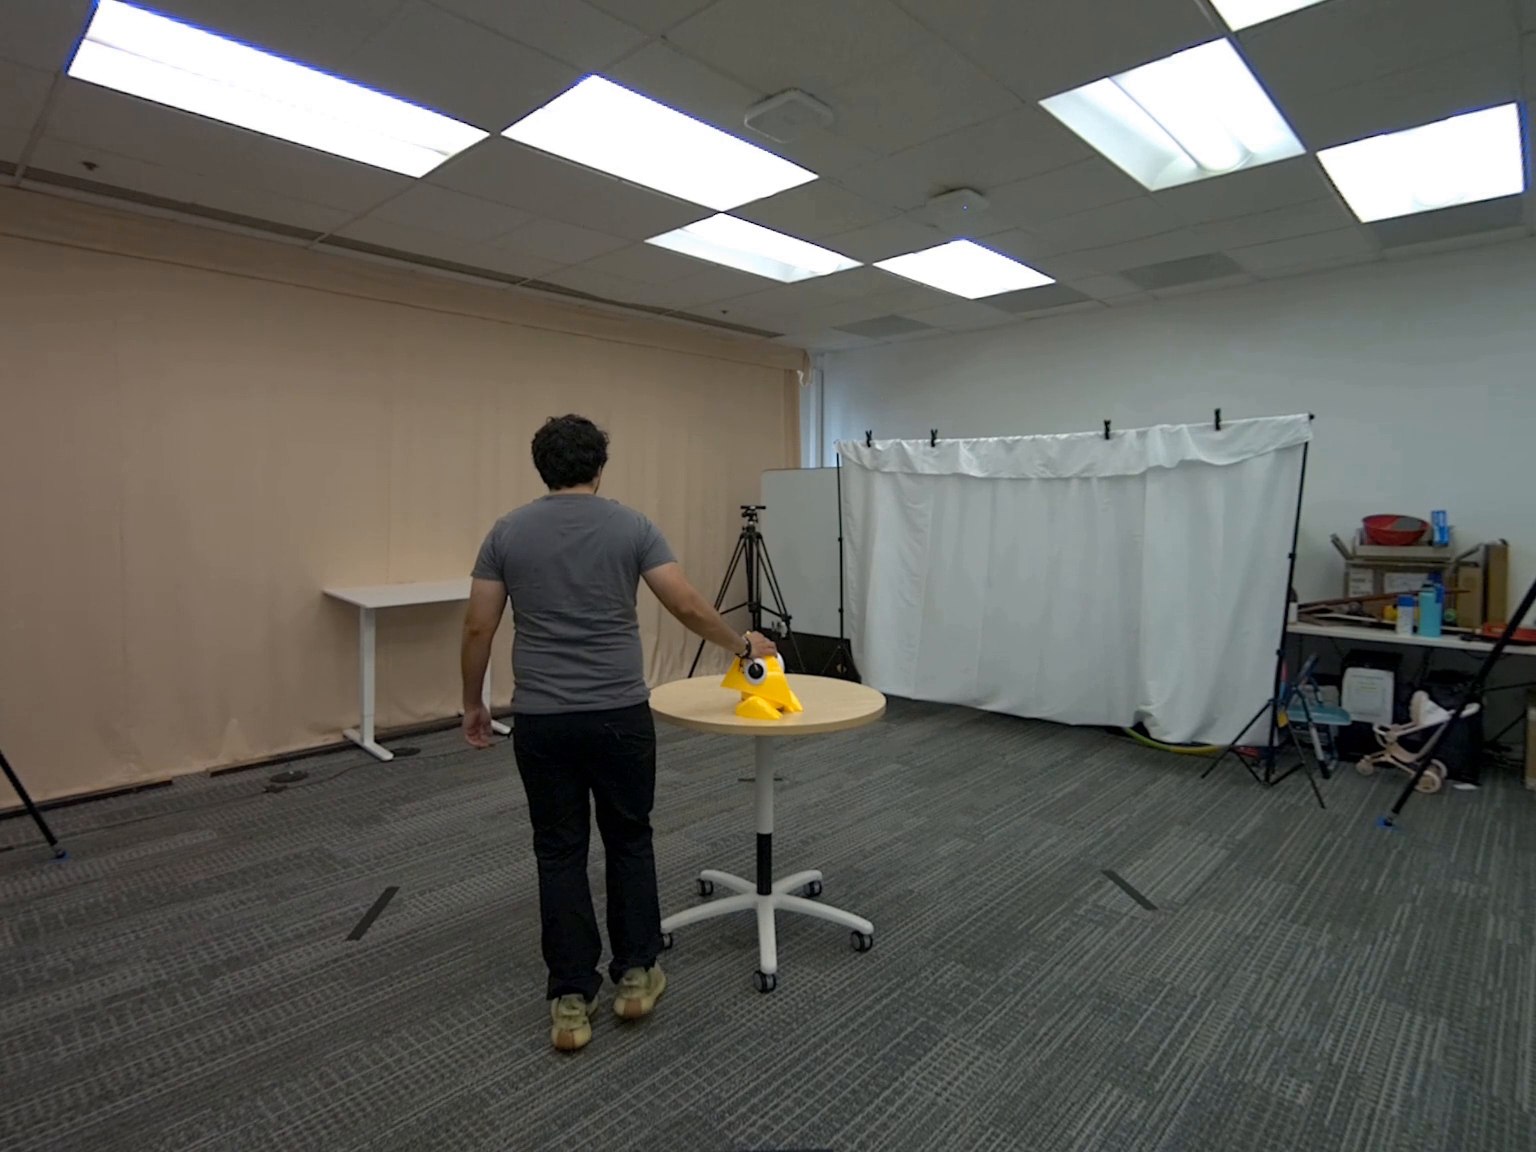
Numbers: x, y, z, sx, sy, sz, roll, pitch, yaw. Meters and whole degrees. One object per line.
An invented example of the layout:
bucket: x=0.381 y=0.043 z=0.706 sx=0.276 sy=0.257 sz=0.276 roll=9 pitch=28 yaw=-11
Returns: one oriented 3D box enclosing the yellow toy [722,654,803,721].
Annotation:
yellow toy: x=-0.003 y=0.288 z=2.493 sx=0.199 sy=0.230 sz=0.199 roll=4 pitch=5 yaw=36
